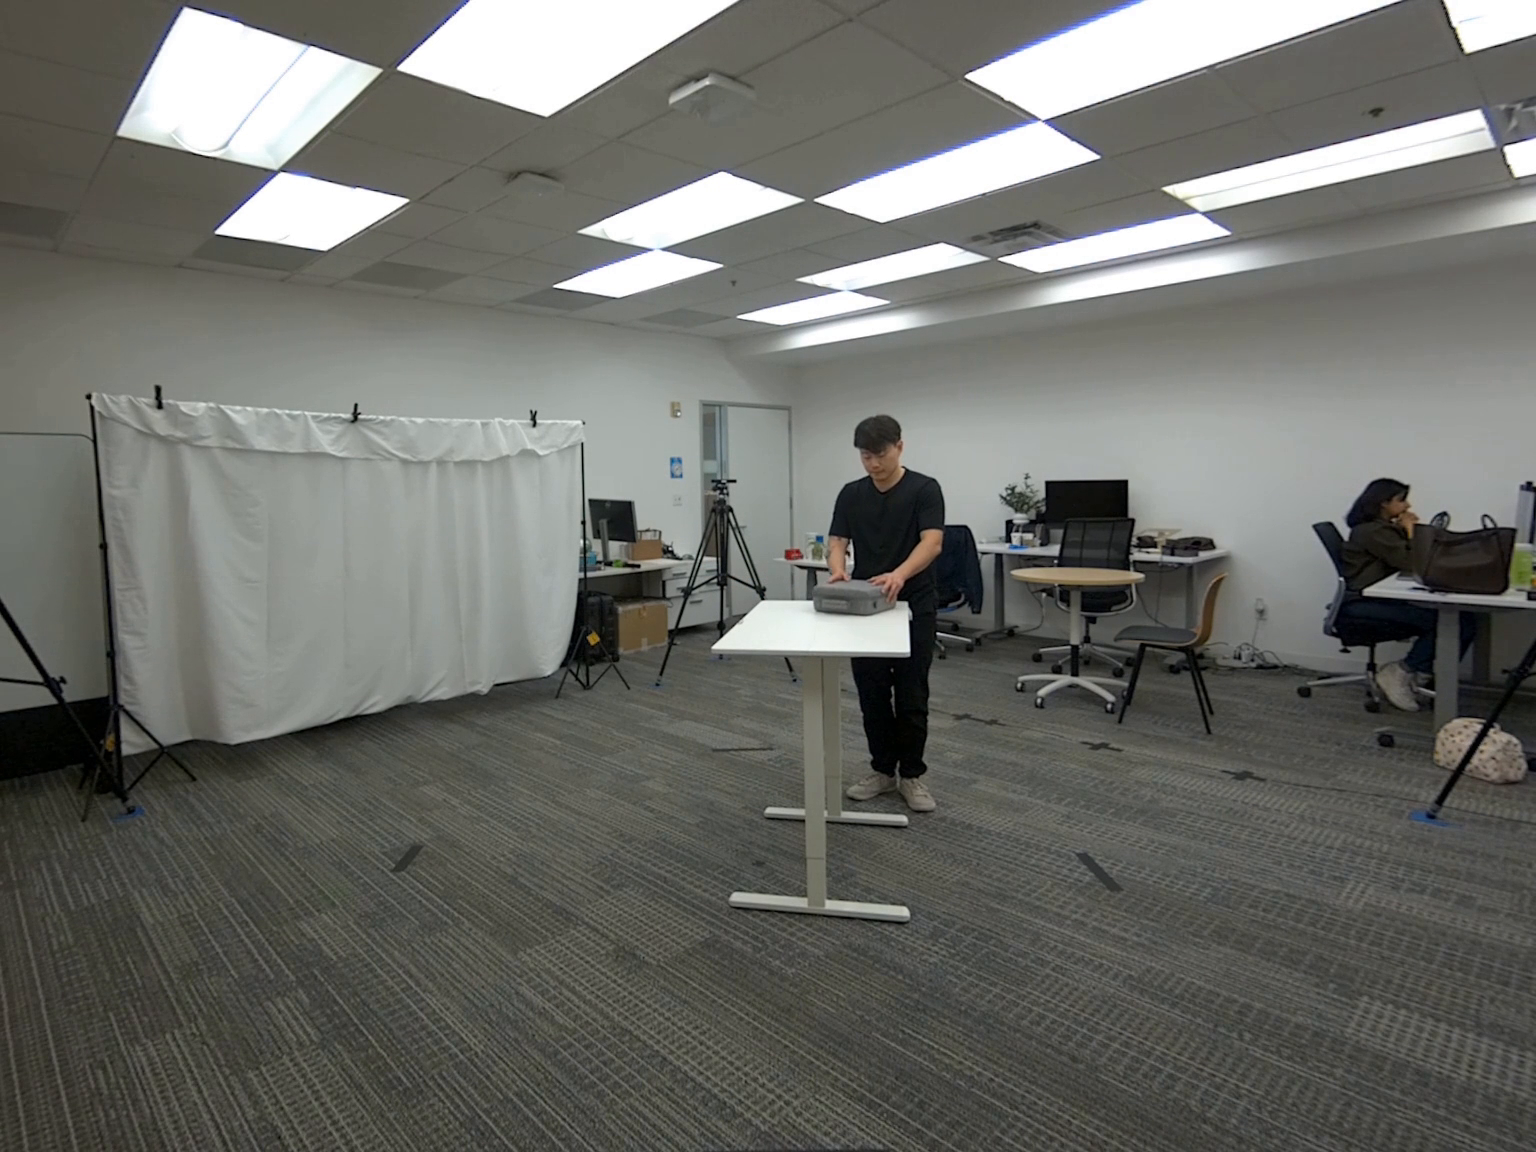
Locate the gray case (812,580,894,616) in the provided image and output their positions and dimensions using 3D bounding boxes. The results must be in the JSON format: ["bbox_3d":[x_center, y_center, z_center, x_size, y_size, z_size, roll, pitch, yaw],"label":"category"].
[{"bbox_3d":[0.332,0.084,3.307,0.264,0.104,0.254,5,9,35],"label":"gray case"}]
